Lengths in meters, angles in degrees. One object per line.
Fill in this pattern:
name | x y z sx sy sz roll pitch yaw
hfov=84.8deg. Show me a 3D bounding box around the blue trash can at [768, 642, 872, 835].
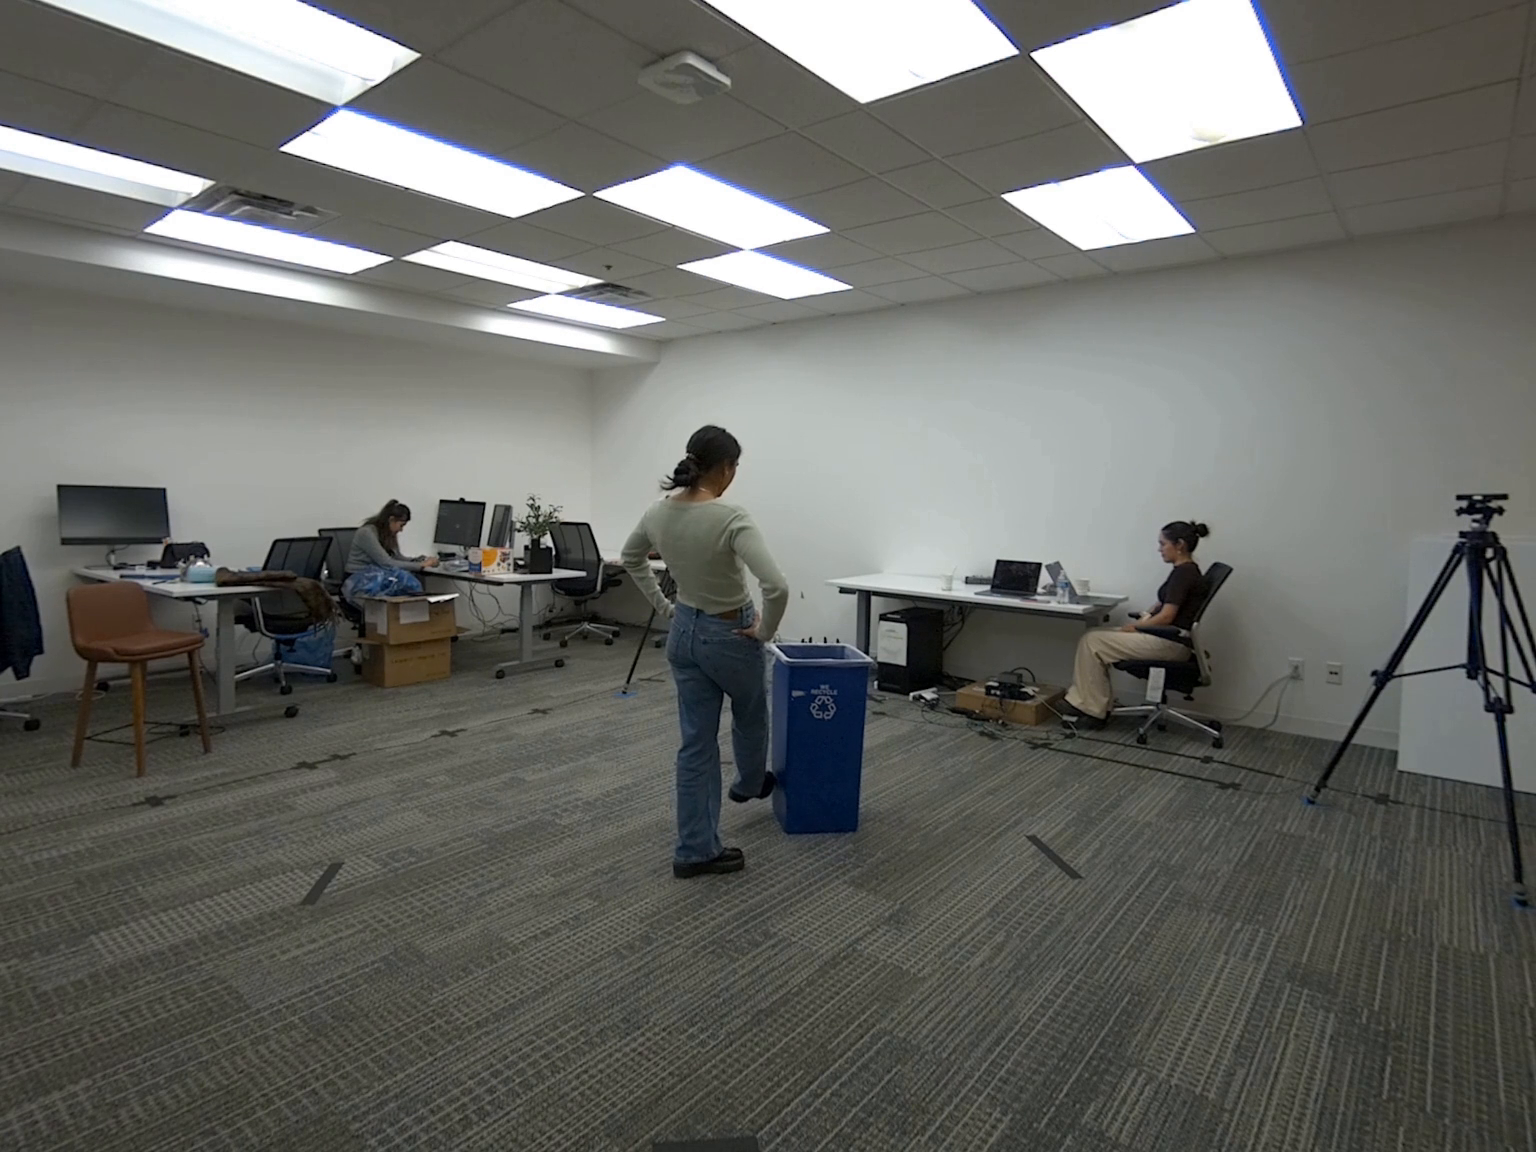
blue trash can | 0.201 0.669 3.571 0.374 0.712 0.379 2 3 -10
